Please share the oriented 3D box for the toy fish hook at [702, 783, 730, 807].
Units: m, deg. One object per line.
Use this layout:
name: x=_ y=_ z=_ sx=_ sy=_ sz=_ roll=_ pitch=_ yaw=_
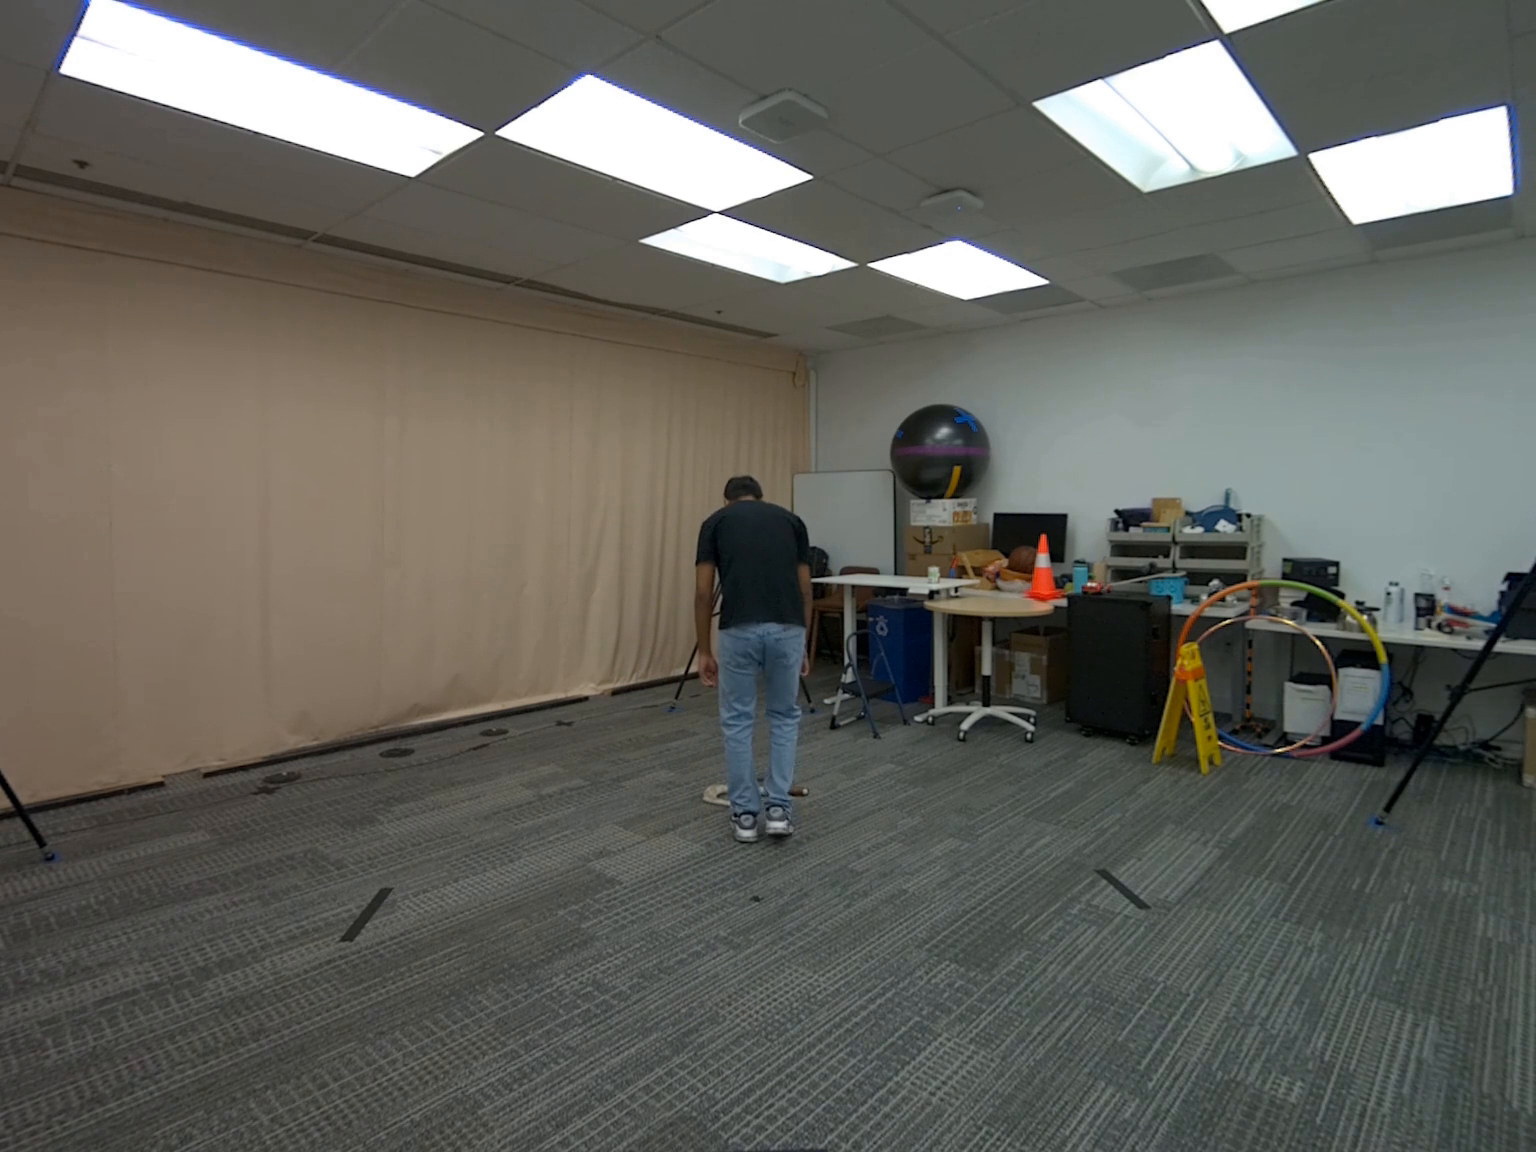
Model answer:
toy fish hook: x=-0.054 y=1.043 z=4.009 sx=0.507 sy=0.048 sz=0.226 roll=-1 pitch=11 yaw=1
